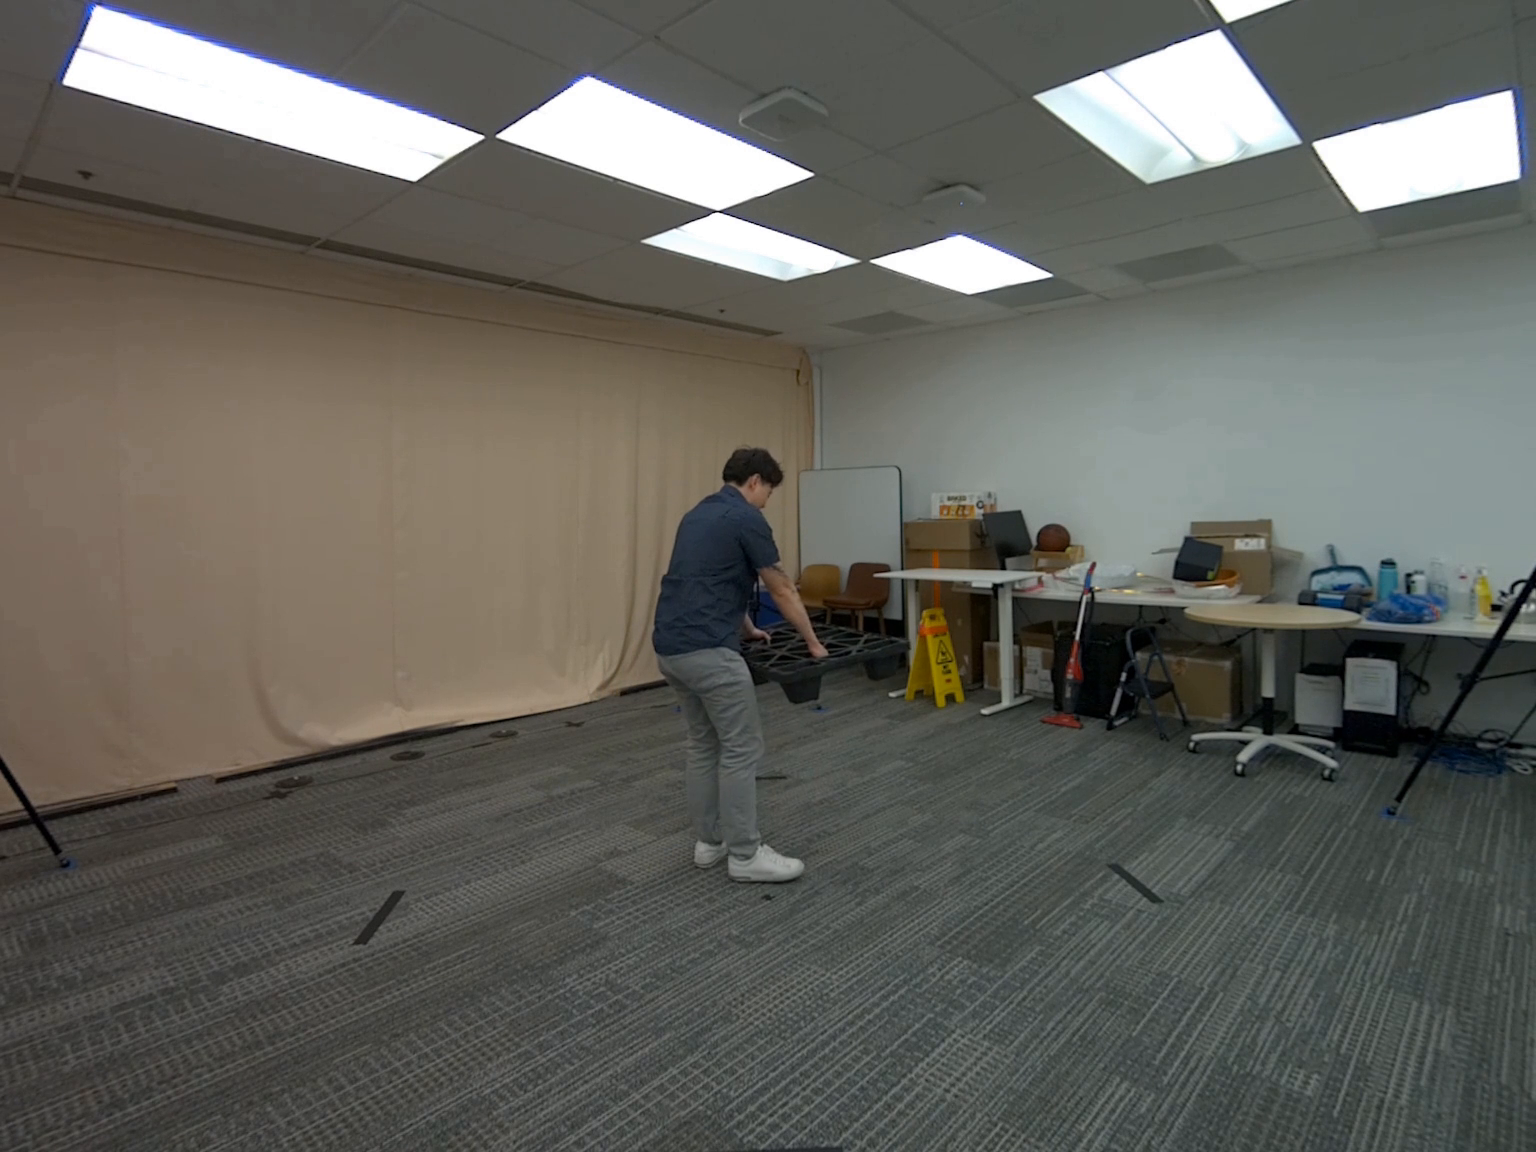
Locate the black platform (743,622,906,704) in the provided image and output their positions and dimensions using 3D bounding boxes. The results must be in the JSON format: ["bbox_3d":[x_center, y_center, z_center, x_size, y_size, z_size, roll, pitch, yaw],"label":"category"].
[{"bbox_3d":[0.107,0.342,3.455,0.591,0.142,0.829,-12,10,-28],"label":"black platform"}]
